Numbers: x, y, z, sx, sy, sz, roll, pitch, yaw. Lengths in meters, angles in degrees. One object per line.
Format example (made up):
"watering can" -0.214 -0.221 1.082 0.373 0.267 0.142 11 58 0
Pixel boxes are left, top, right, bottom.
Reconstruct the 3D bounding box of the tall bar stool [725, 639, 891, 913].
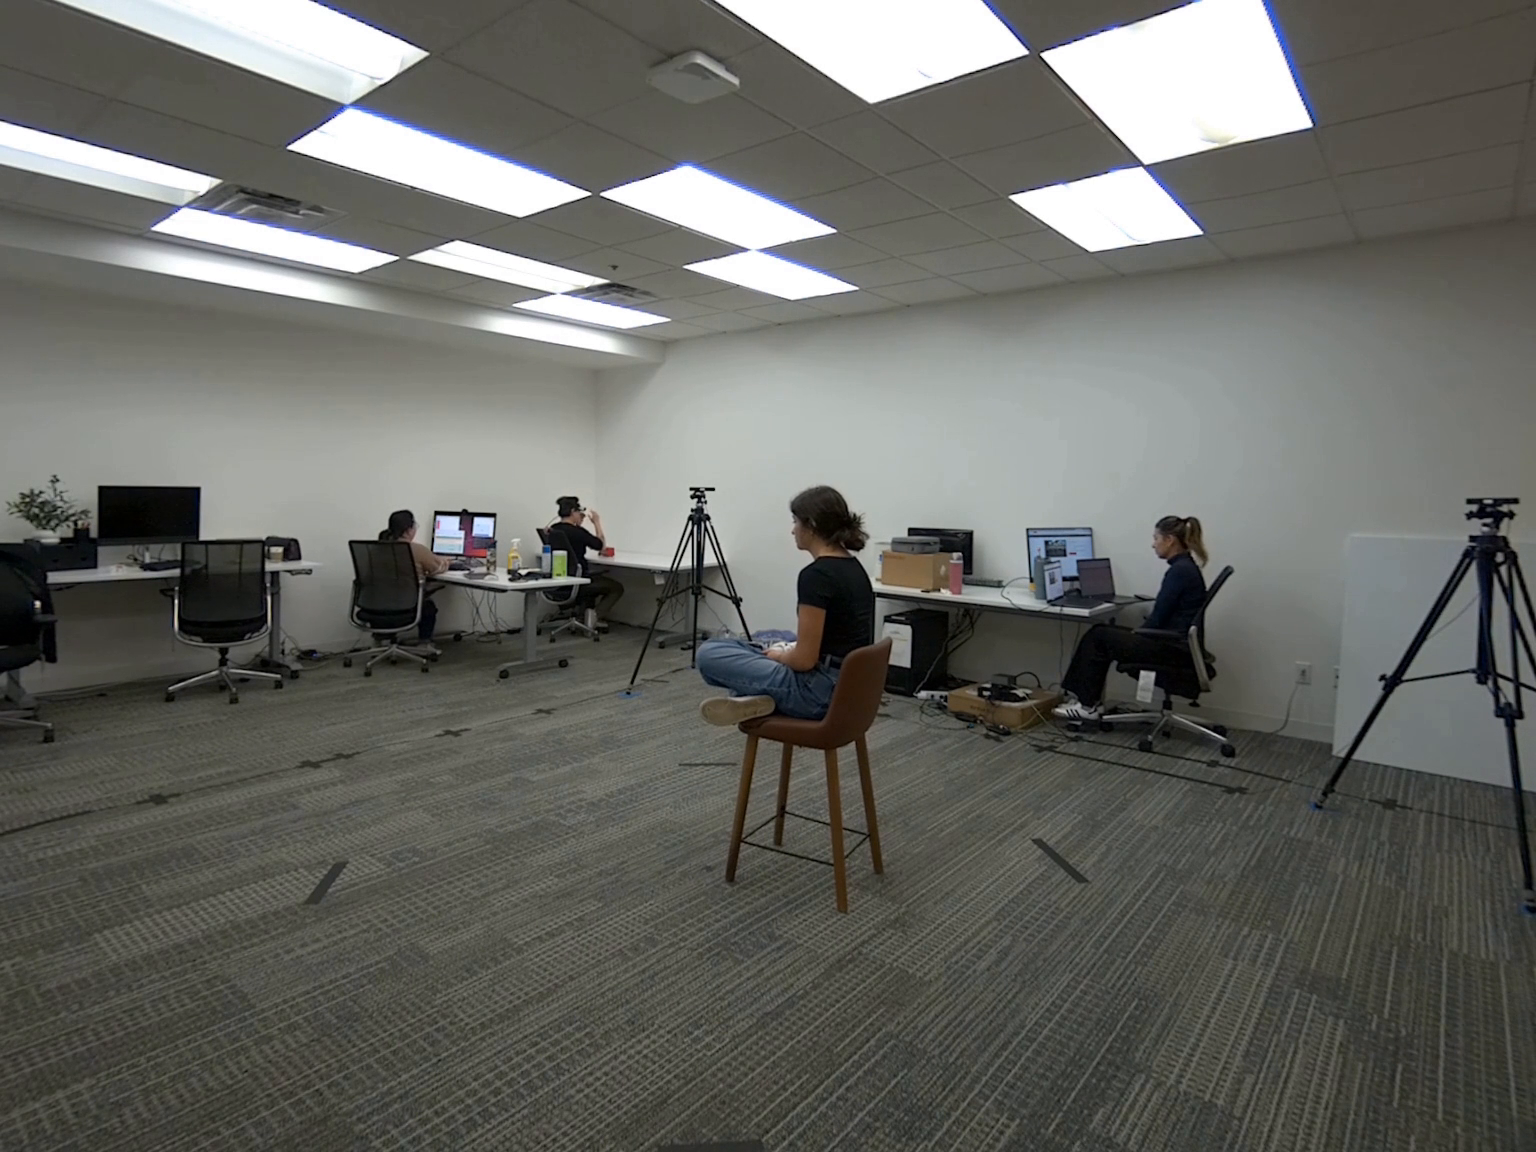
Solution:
"tall bar stool" 0.152 0.646 3.042 0.482 0.886 0.445 5 5 30
